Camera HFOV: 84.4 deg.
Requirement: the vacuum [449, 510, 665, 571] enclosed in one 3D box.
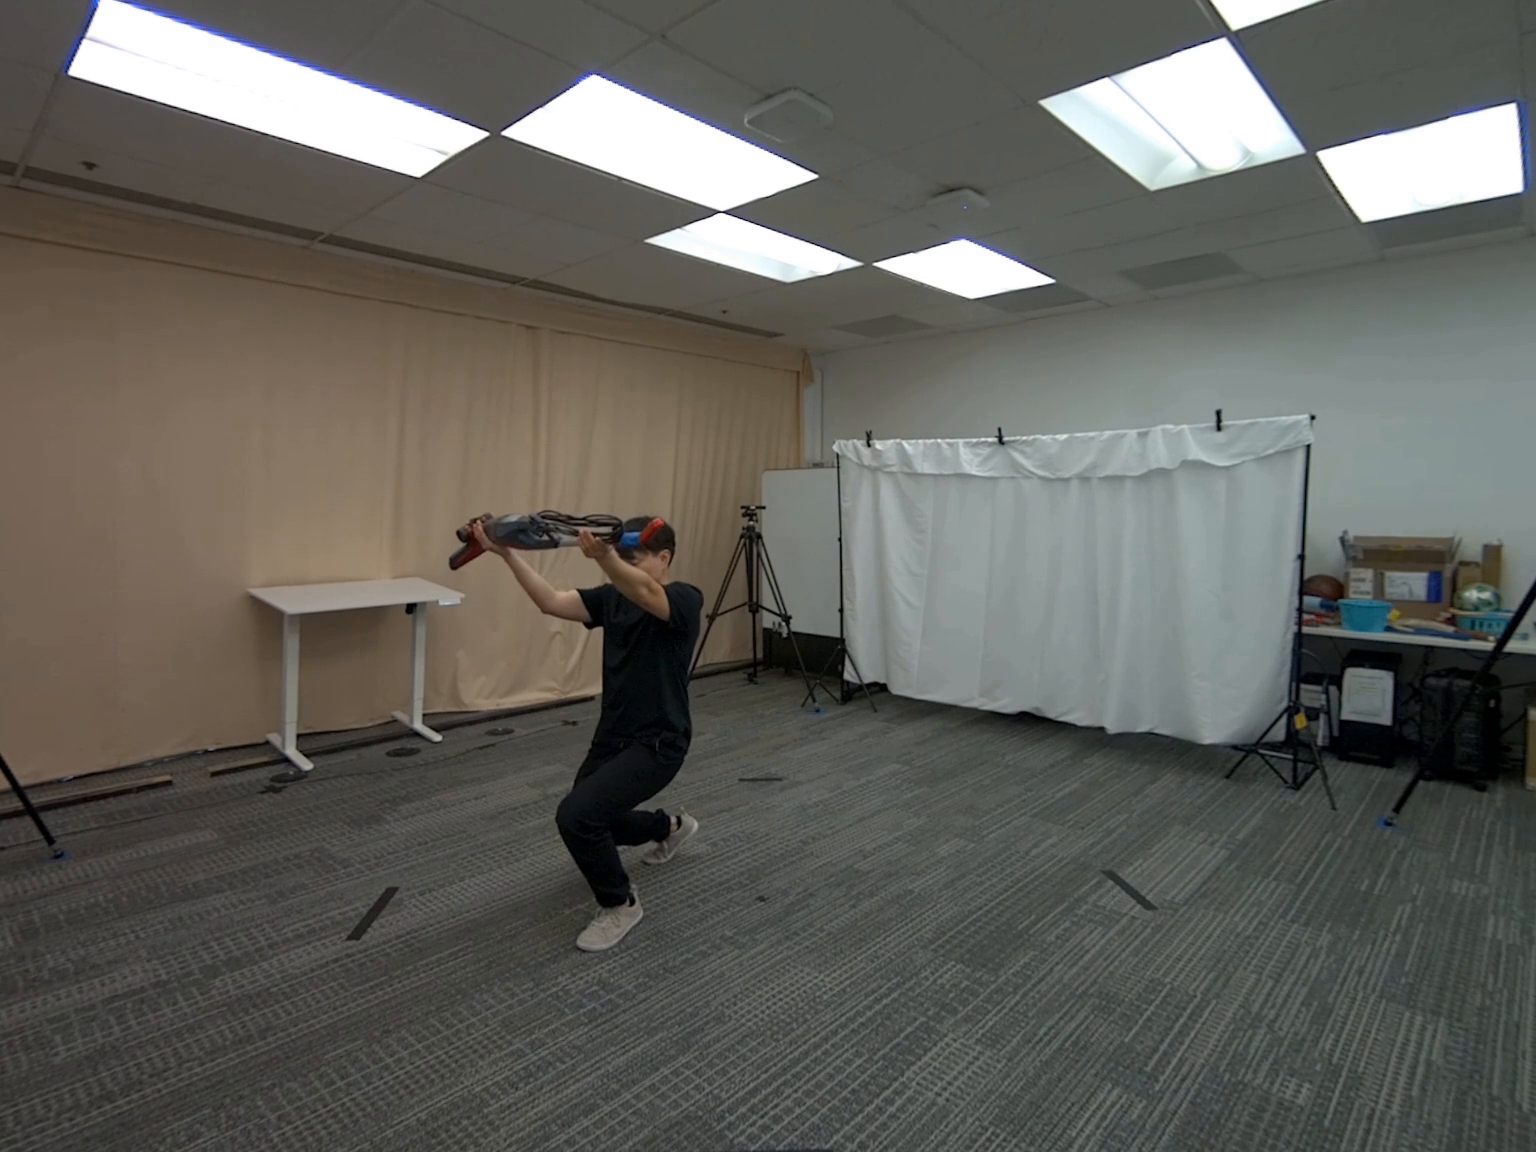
[{"bbox_3d":[-0.659,-0.138,2.579,1.082,0.141,0.249,-2,29,47],"label":"vacuum"}]
